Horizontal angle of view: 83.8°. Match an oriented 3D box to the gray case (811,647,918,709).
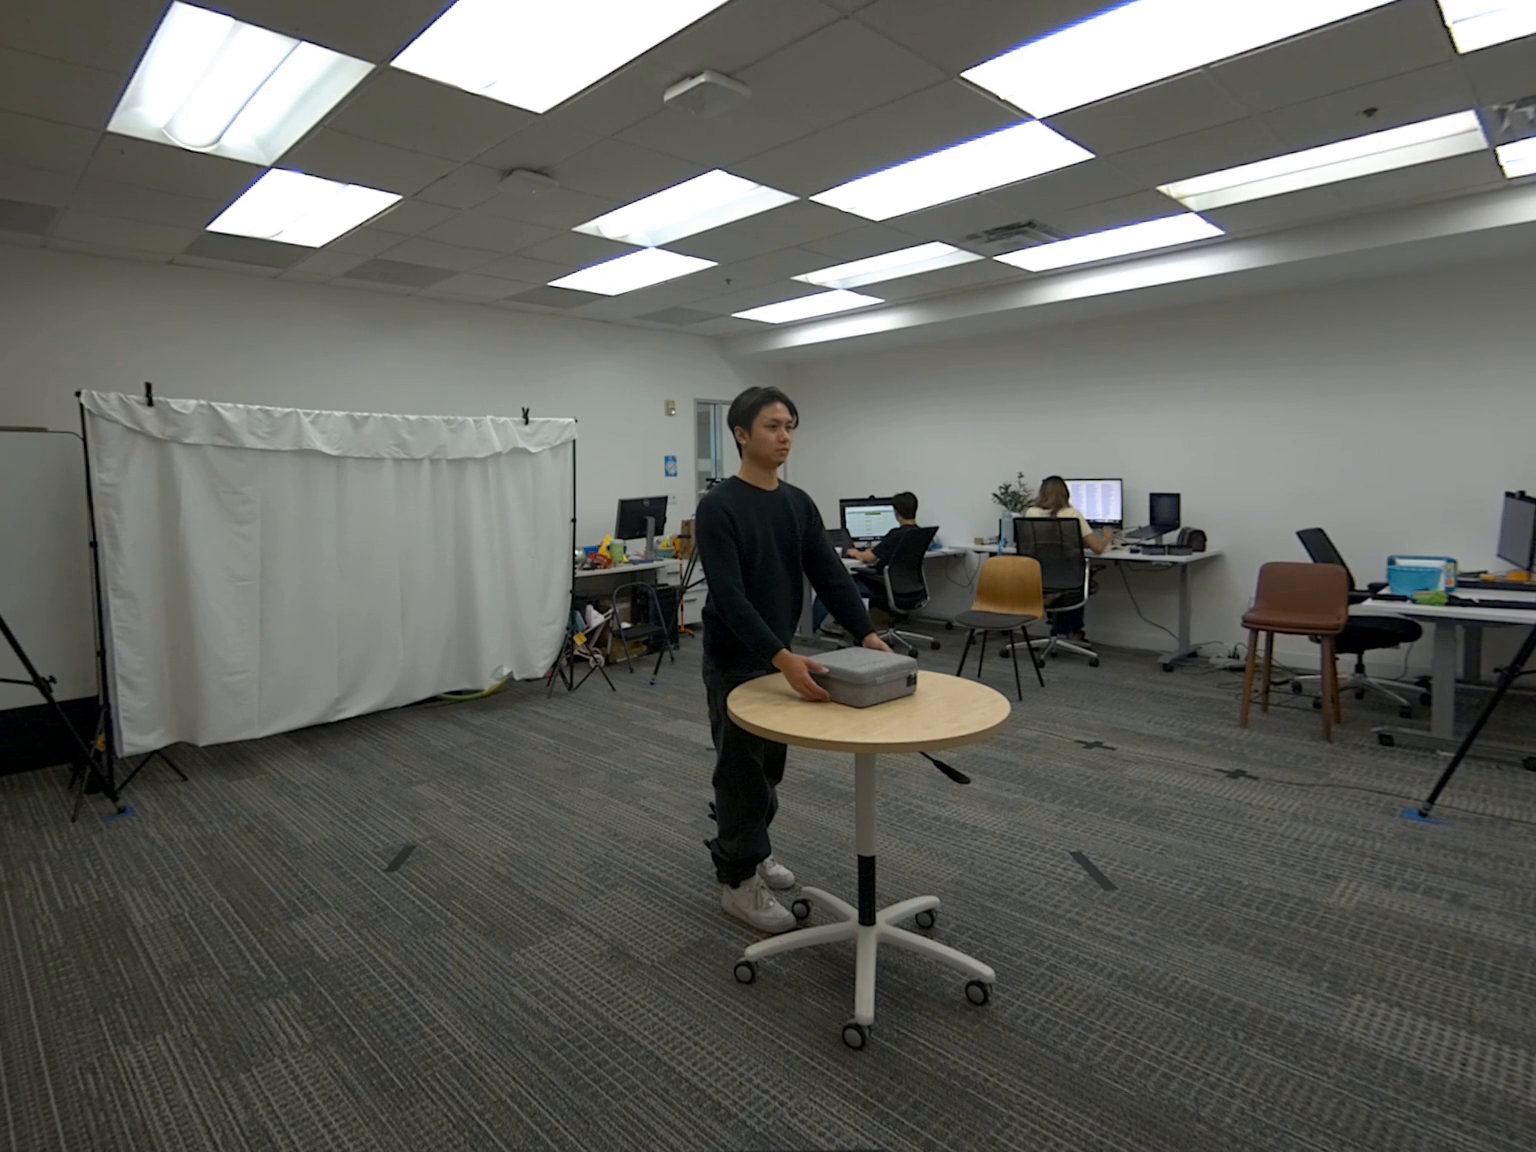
[{"bbox_3d":[0.260,0.284,2.405,0.251,0.103,0.269,-10,10,-40],"label":"gray case"}]
